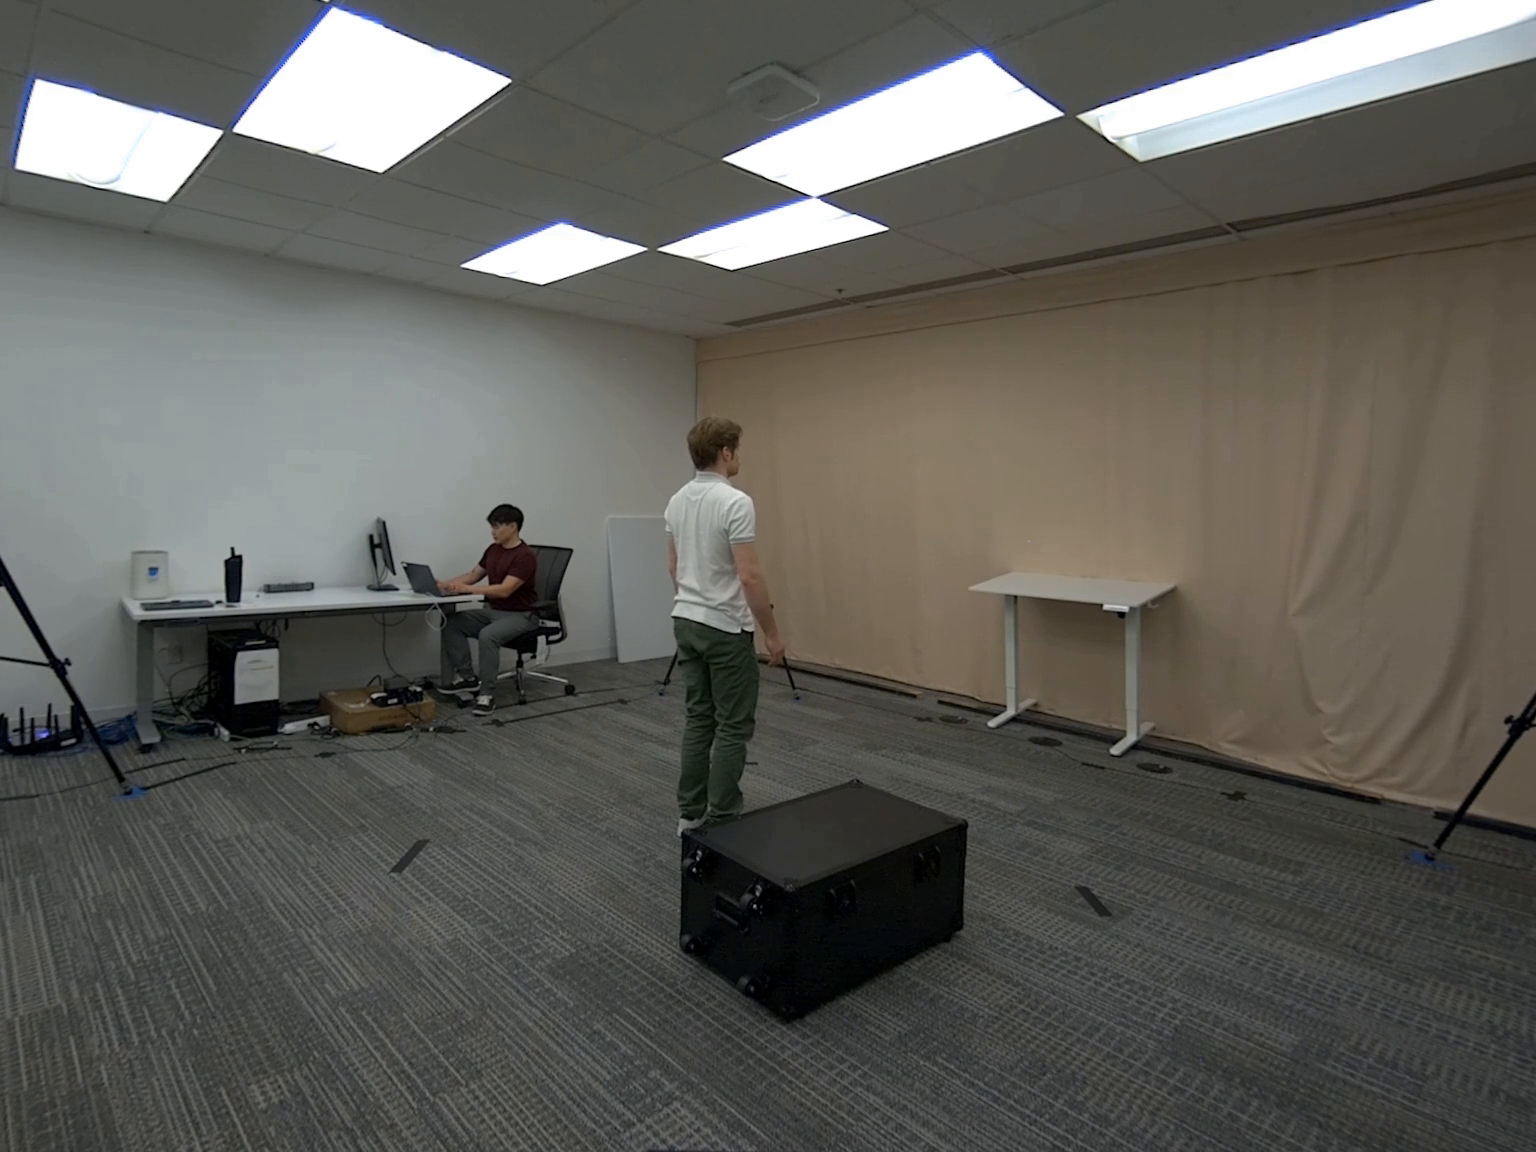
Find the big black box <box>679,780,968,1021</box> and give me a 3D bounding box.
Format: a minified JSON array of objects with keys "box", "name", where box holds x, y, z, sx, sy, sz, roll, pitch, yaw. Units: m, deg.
[{"box":[0.149,0.961,2.609,0.849,0.384,0.537,-3,8,-41],"name":"big black box"}]
